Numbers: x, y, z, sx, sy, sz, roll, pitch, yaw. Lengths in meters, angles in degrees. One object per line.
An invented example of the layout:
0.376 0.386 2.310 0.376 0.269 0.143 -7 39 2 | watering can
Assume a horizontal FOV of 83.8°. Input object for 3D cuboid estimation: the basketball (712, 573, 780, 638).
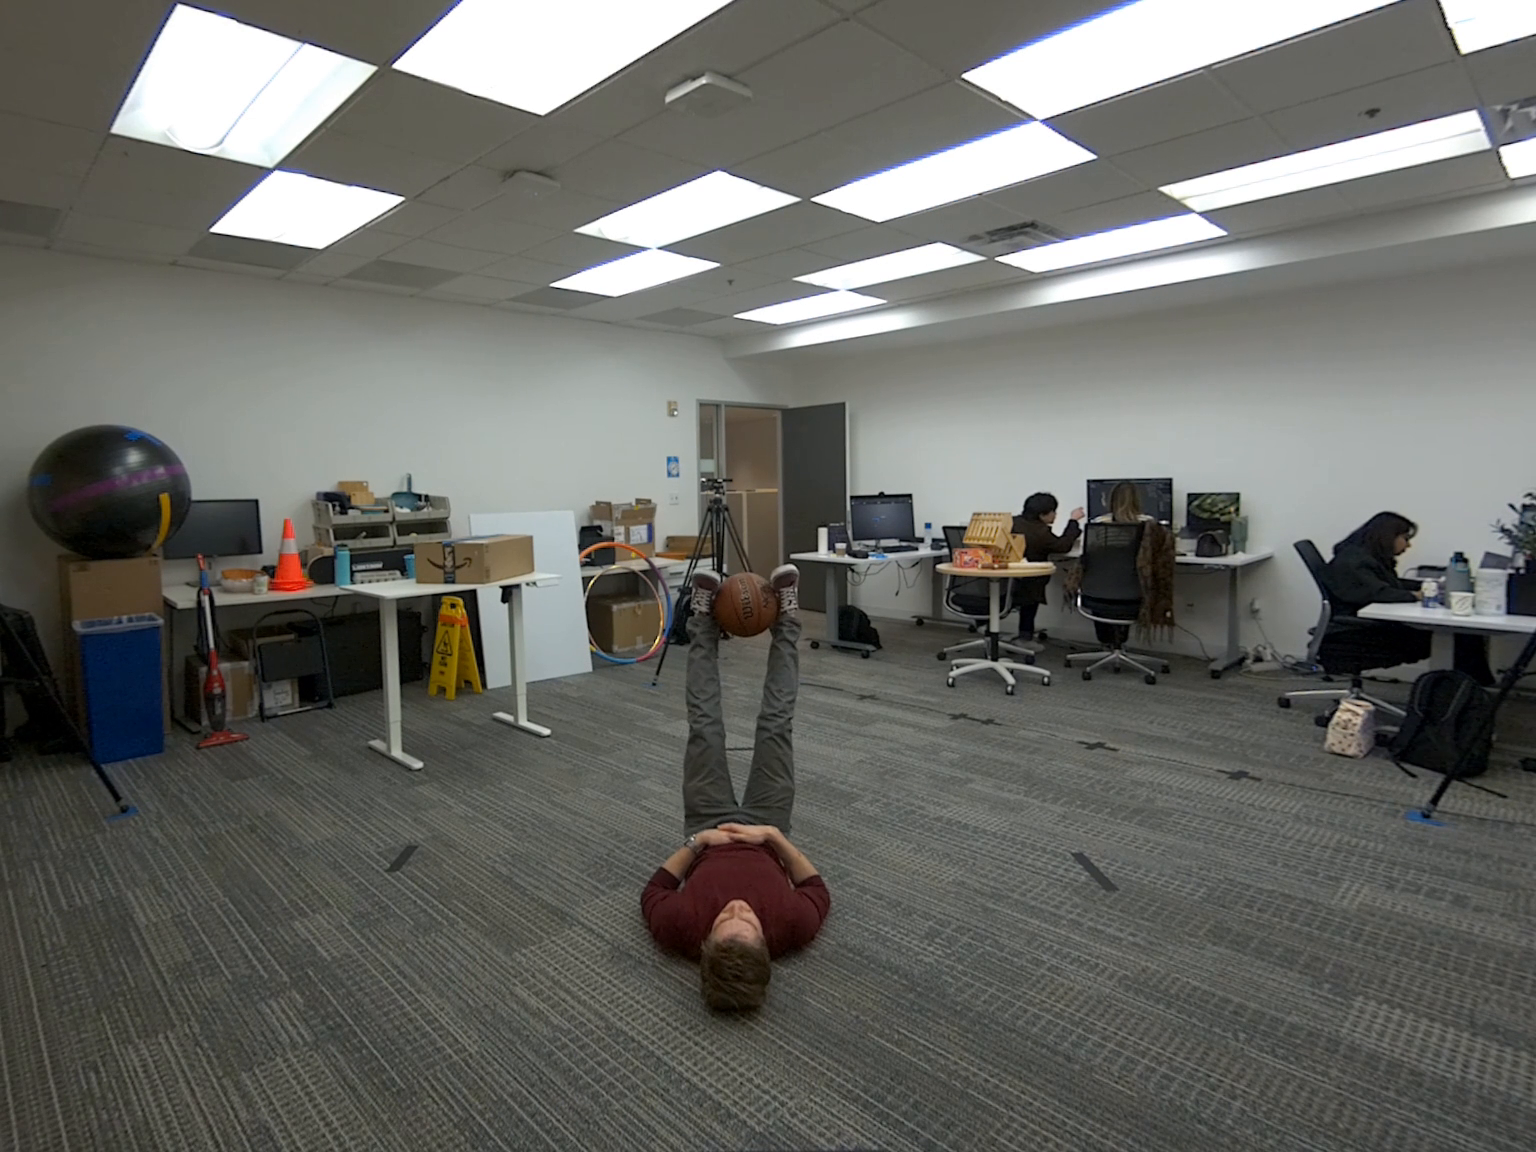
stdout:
-0.079 0.112 3.174 0.236 0.236 0.236 0 1 -2 | basketball
